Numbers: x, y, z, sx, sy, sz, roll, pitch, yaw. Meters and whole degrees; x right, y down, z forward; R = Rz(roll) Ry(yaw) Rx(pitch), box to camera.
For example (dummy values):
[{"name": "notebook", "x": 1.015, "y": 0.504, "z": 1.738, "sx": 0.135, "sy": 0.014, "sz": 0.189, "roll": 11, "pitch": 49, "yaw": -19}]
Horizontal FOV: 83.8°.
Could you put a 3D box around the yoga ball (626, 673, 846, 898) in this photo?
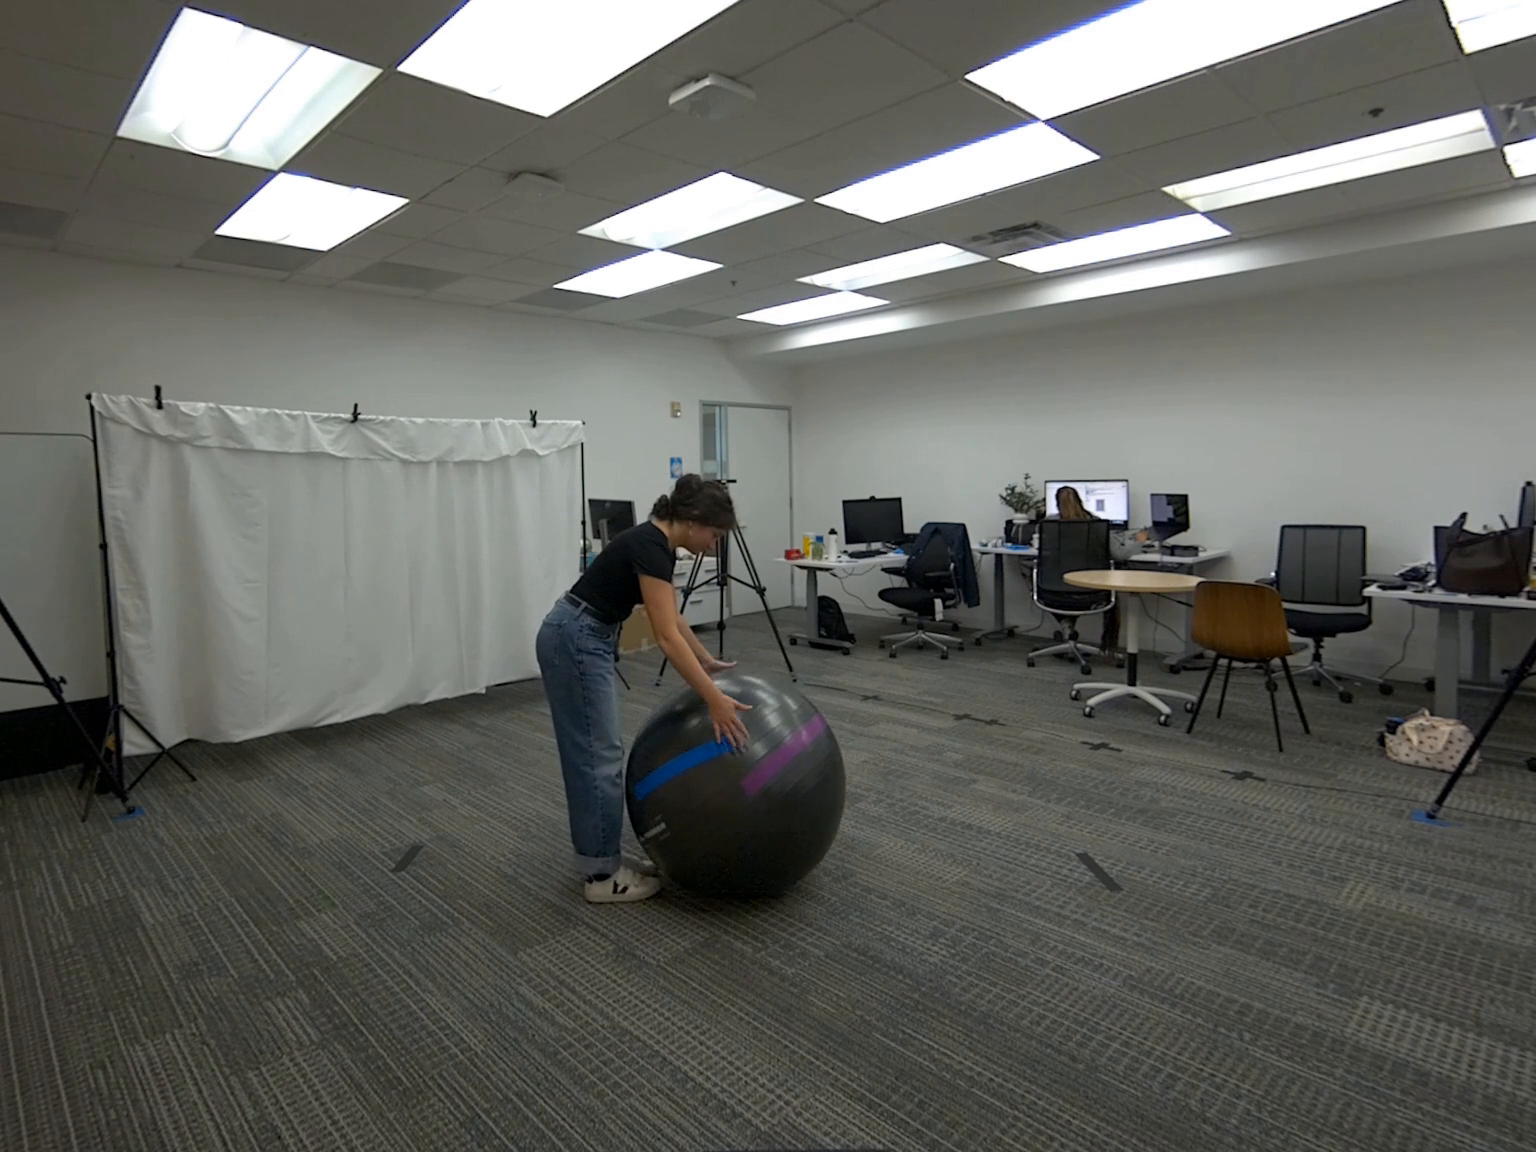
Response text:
[{"name": "yoga ball", "x": -0.098, "y": 0.666, "z": 2.953, "sx": 0.757, "sy": 0.755, "sz": 0.762, "roll": -1, "pitch": 5, "yaw": -2}]
